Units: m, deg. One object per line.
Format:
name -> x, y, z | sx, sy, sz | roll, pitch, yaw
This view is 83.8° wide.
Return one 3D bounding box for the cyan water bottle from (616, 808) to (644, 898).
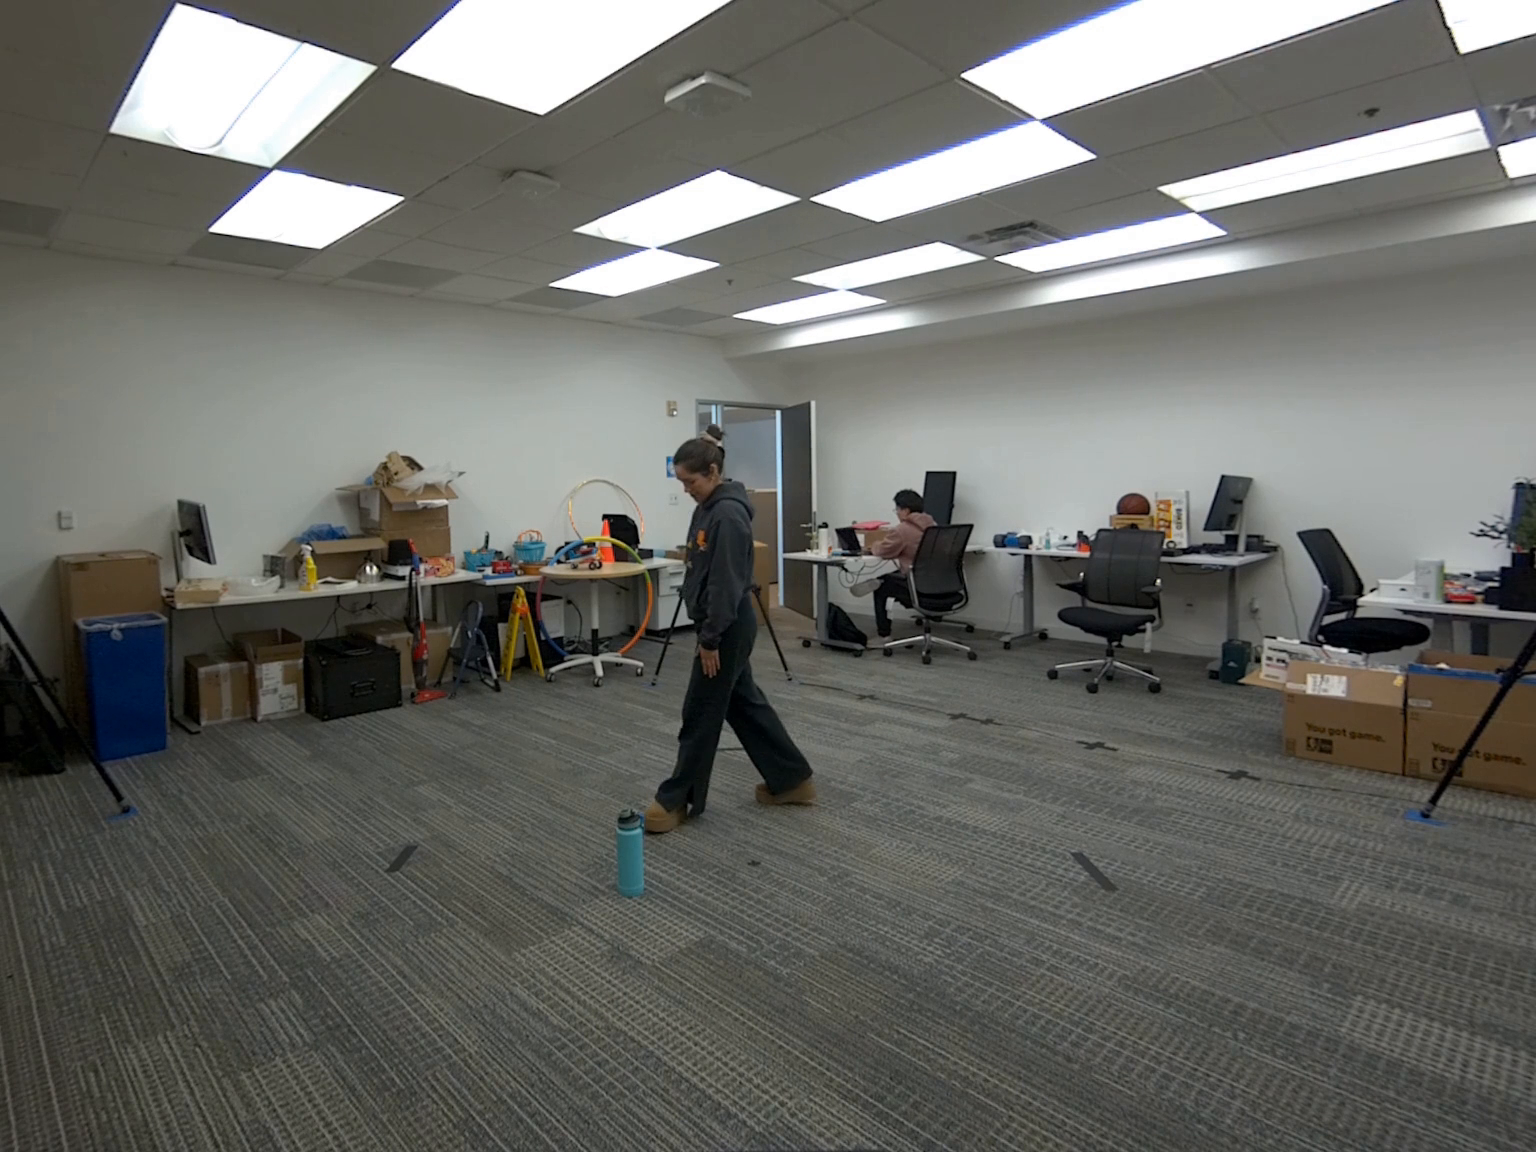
cyan water bottle -> -0.466, 0.936, 2.890 | 0.092, 0.282, 0.093 | 0, 4, -2
